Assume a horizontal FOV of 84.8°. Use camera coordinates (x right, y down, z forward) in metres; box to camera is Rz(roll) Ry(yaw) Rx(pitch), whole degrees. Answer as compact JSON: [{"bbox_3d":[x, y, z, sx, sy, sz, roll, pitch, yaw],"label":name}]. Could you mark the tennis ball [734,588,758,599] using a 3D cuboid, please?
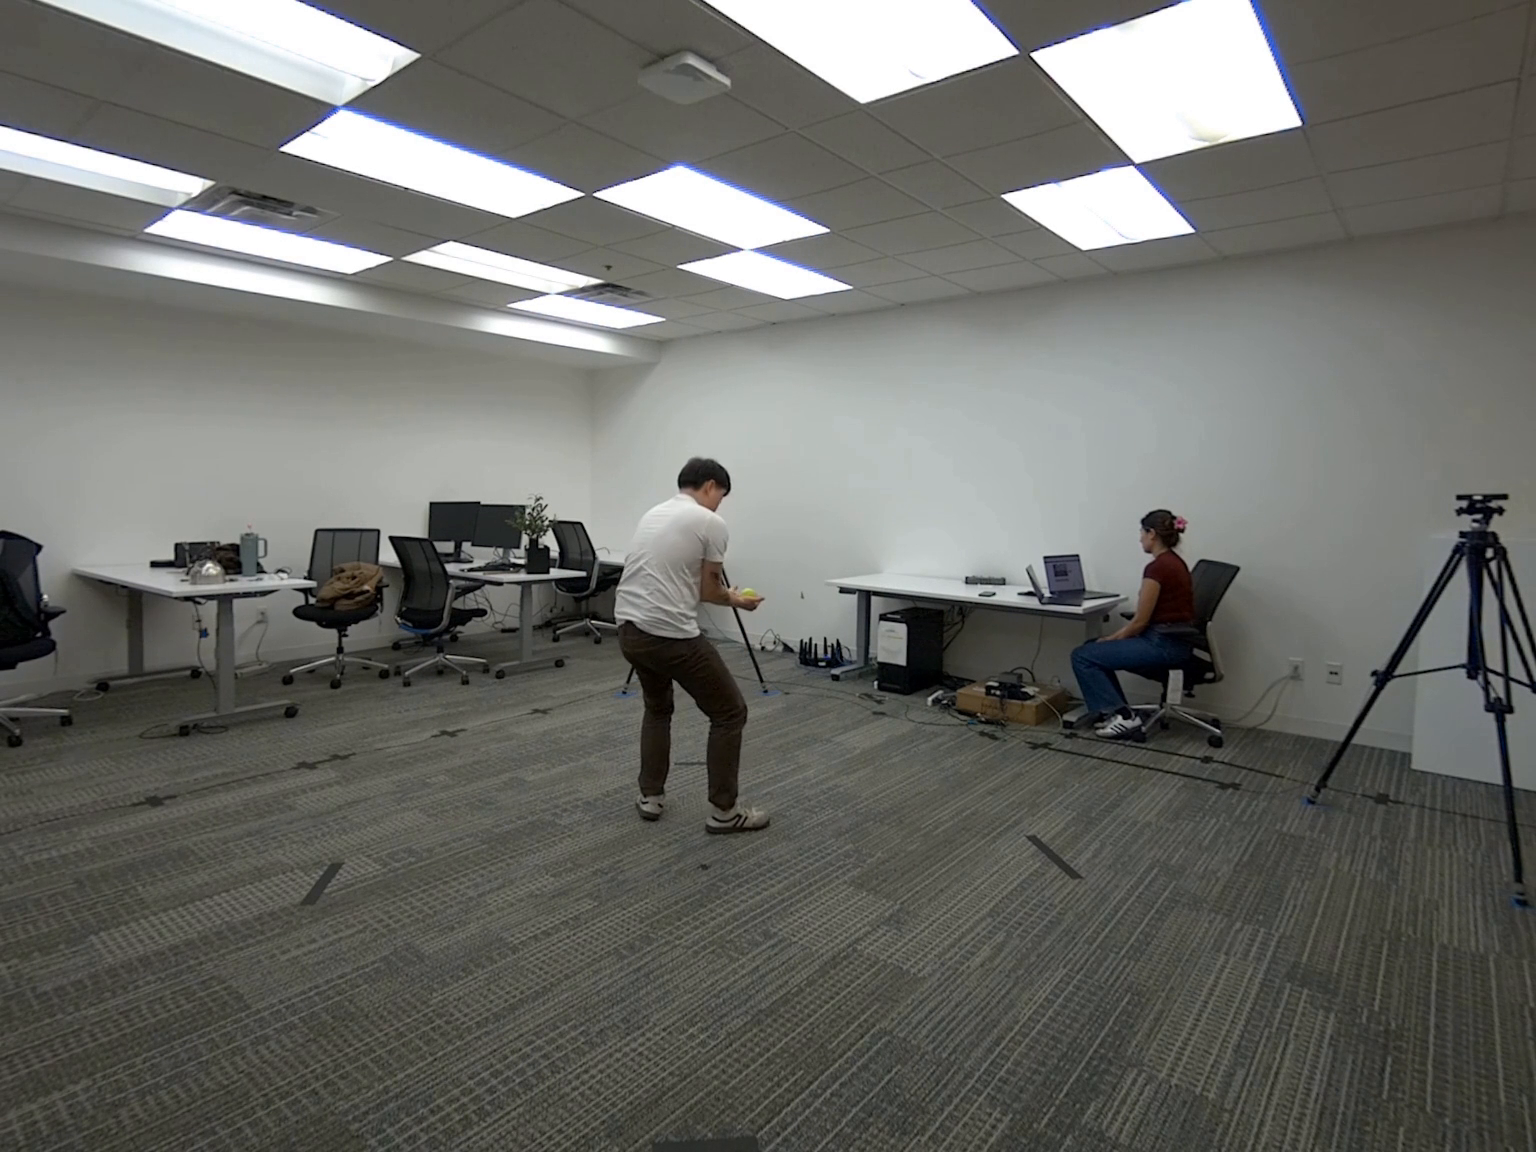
[{"bbox_3d":[-0.107,0.104,3.765,0.066,0.066,0.067,1,4,-2],"label":"tennis ball"}]
